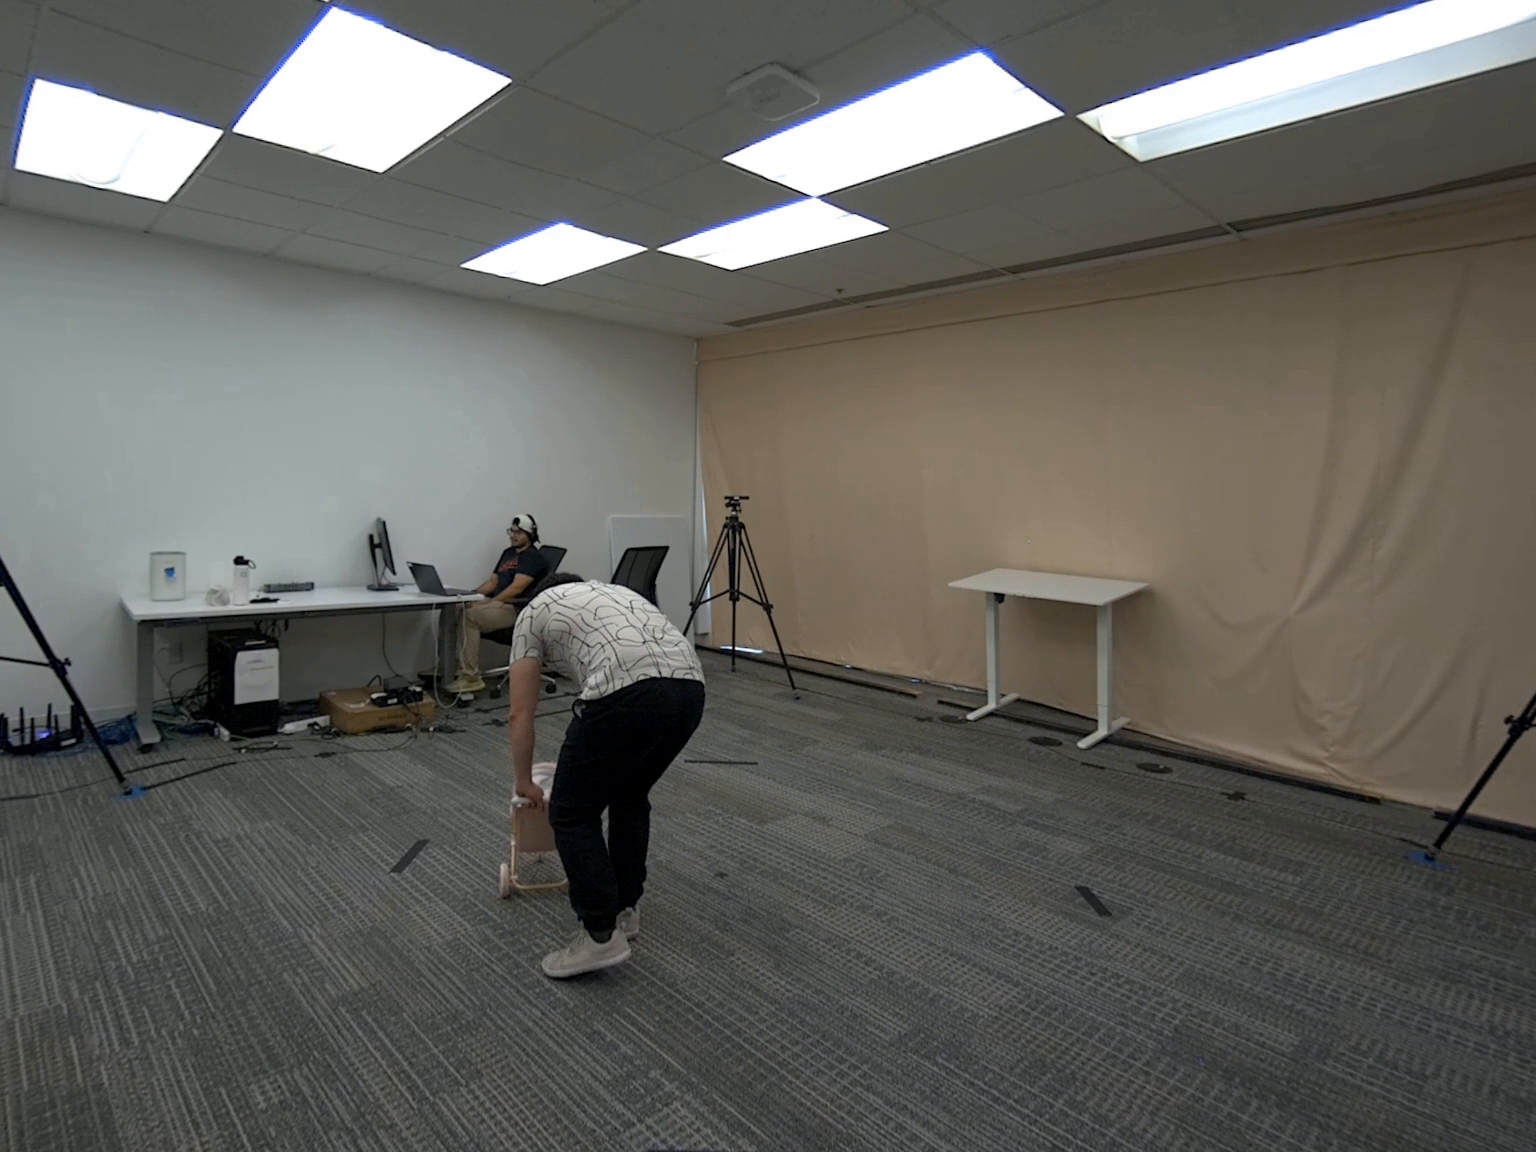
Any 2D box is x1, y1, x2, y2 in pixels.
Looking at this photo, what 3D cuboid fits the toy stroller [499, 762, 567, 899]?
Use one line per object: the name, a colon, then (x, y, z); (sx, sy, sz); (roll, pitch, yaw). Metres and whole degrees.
toy stroller: (-0.806, 0.887, 2.978); (0.279, 0.528, 0.349); (2, 23, -12)
